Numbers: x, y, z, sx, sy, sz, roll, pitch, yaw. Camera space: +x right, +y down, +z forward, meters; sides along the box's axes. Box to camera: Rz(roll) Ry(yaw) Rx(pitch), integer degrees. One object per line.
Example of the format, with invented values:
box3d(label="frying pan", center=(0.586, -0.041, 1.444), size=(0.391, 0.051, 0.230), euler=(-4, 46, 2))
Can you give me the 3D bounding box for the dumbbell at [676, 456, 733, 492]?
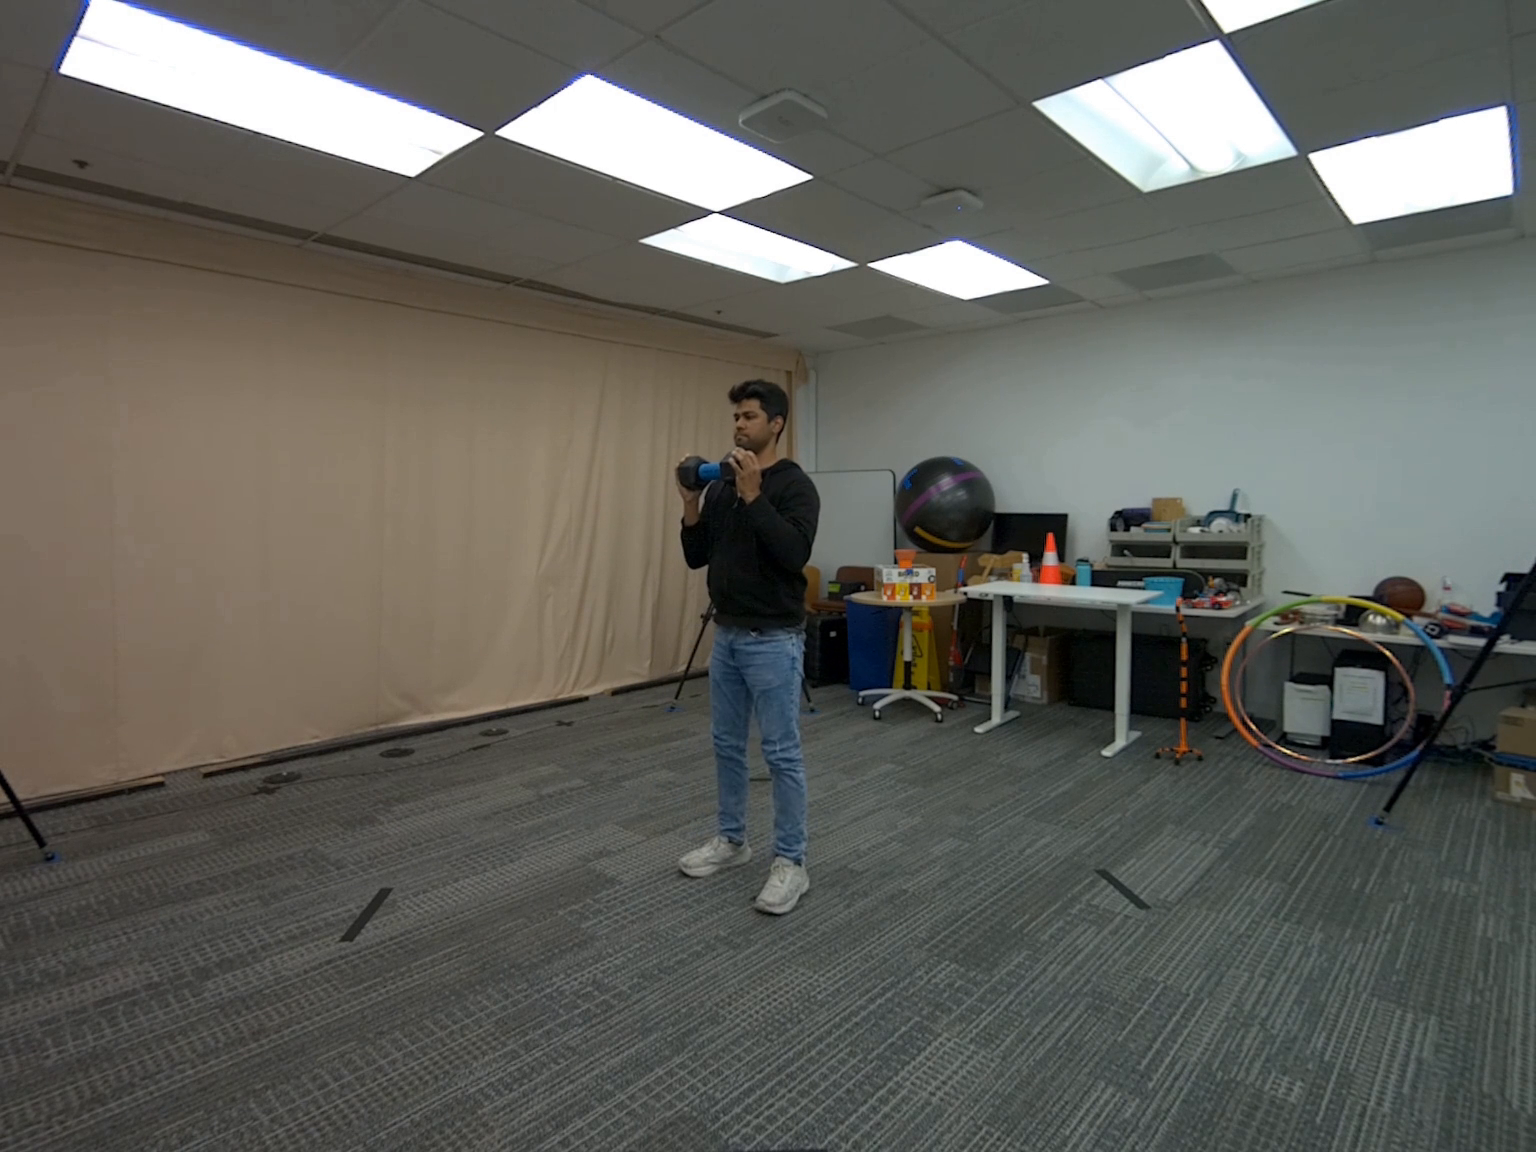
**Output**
box3d(label="dumbbell", center=(-0.171, -0.348, 2.918), size=(0.303, 0.122, 0.106), euler=(1, 10, 45))
